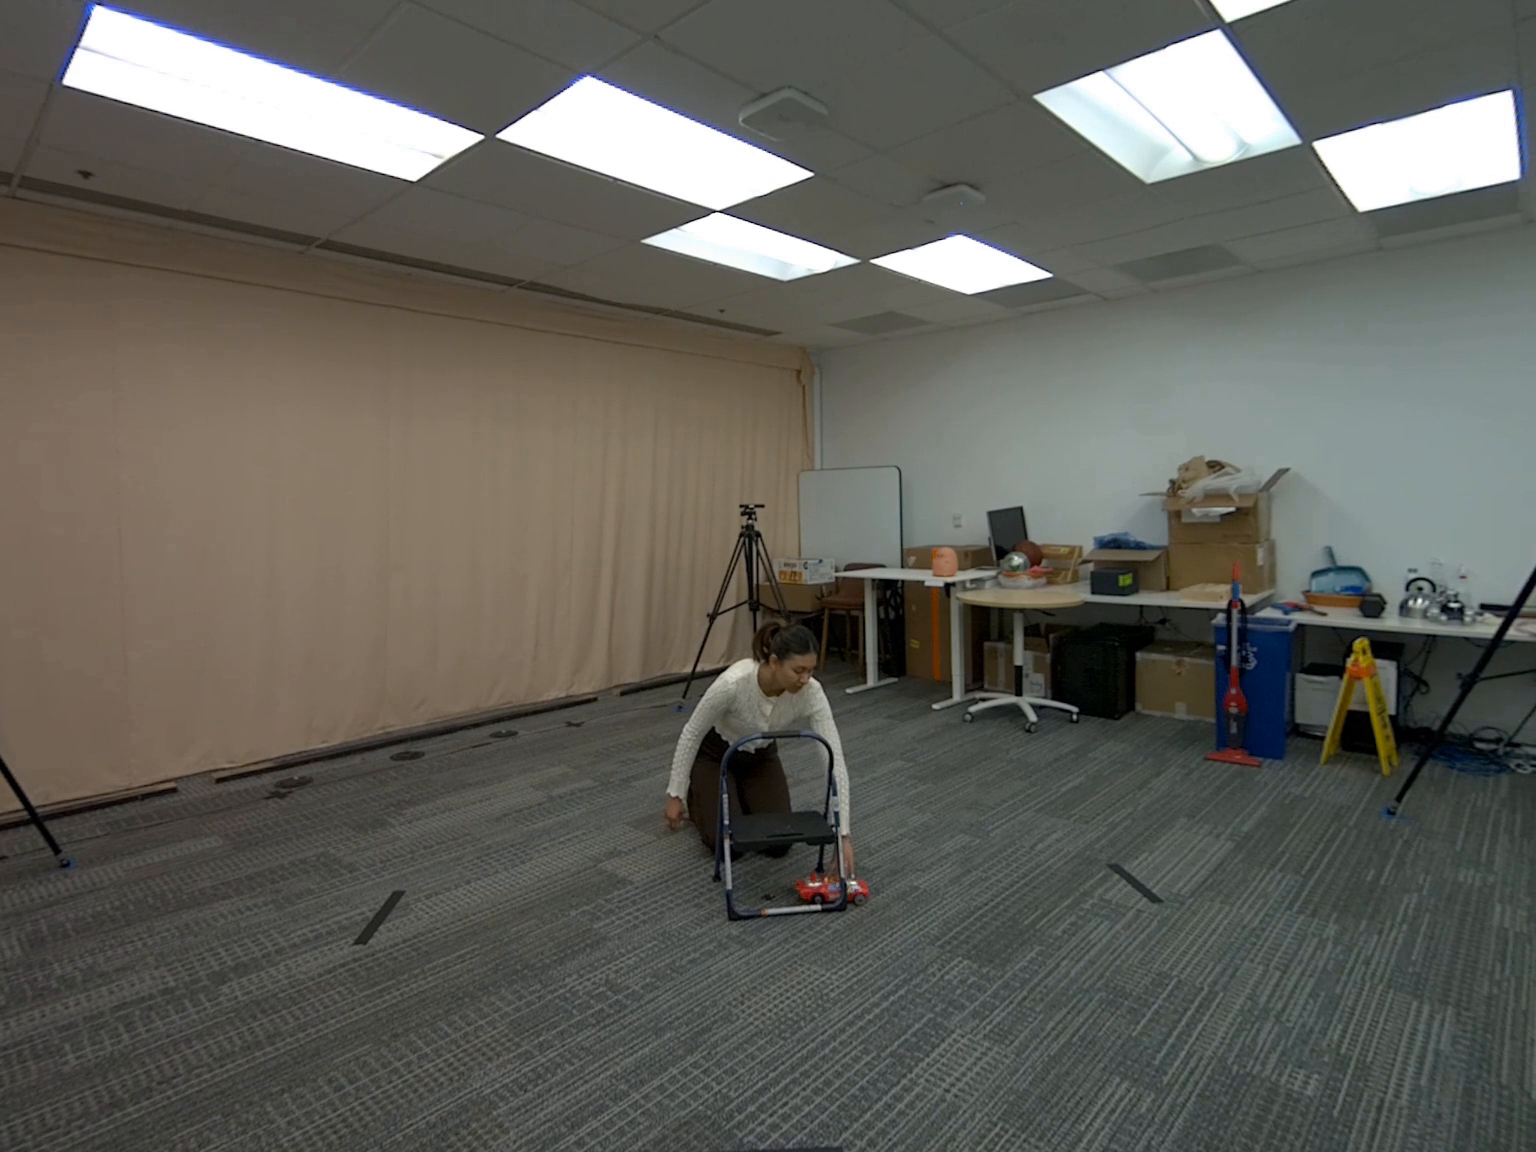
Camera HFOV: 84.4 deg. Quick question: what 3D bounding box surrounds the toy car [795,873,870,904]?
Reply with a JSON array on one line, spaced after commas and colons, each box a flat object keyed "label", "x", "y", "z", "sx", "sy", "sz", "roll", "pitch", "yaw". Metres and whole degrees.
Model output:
[{"label": "toy car", "x": 0.228, "y": 1.111, "z": 2.962, "sx": 0.254, "sy": 0.083, "sz": 0.130, "roll": 11, "pitch": 3, "yaw": -1}]
